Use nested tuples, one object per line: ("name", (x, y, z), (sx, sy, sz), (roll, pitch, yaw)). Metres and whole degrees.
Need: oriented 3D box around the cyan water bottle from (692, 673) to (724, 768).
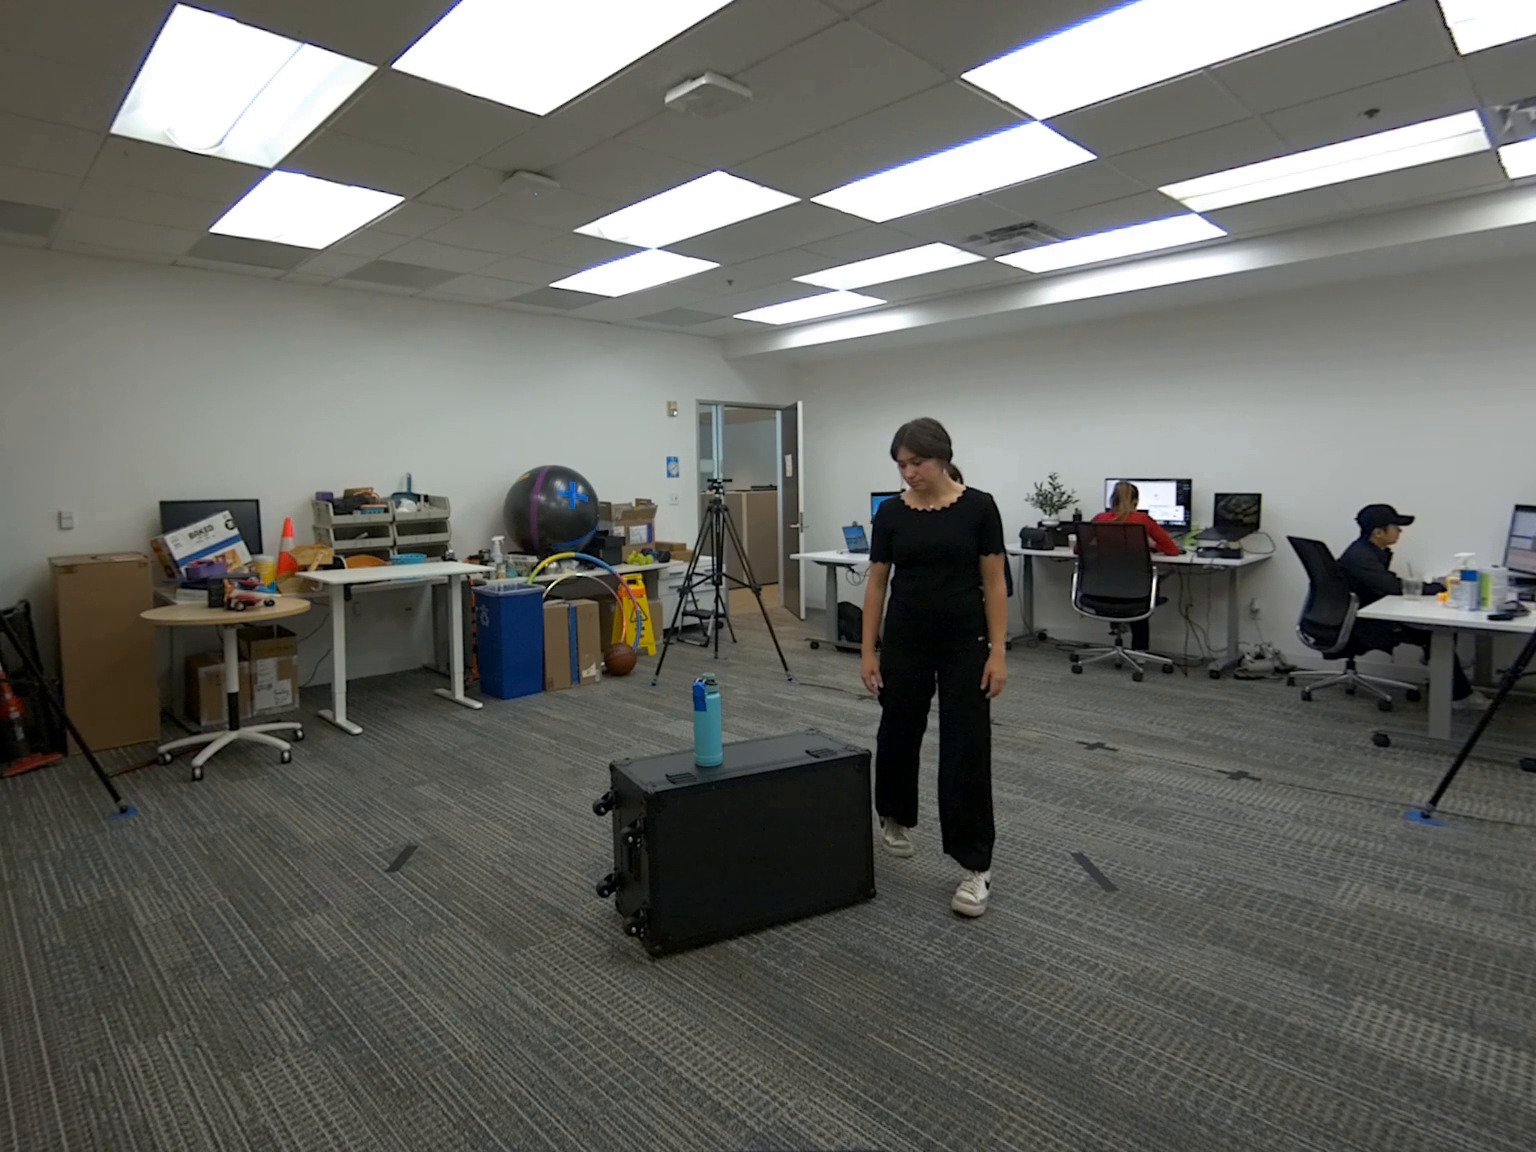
("cyan water bottle", (-0.191, 0.462, 2.742), (0.092, 0.283, 0.092), (-2, 2, -2))
